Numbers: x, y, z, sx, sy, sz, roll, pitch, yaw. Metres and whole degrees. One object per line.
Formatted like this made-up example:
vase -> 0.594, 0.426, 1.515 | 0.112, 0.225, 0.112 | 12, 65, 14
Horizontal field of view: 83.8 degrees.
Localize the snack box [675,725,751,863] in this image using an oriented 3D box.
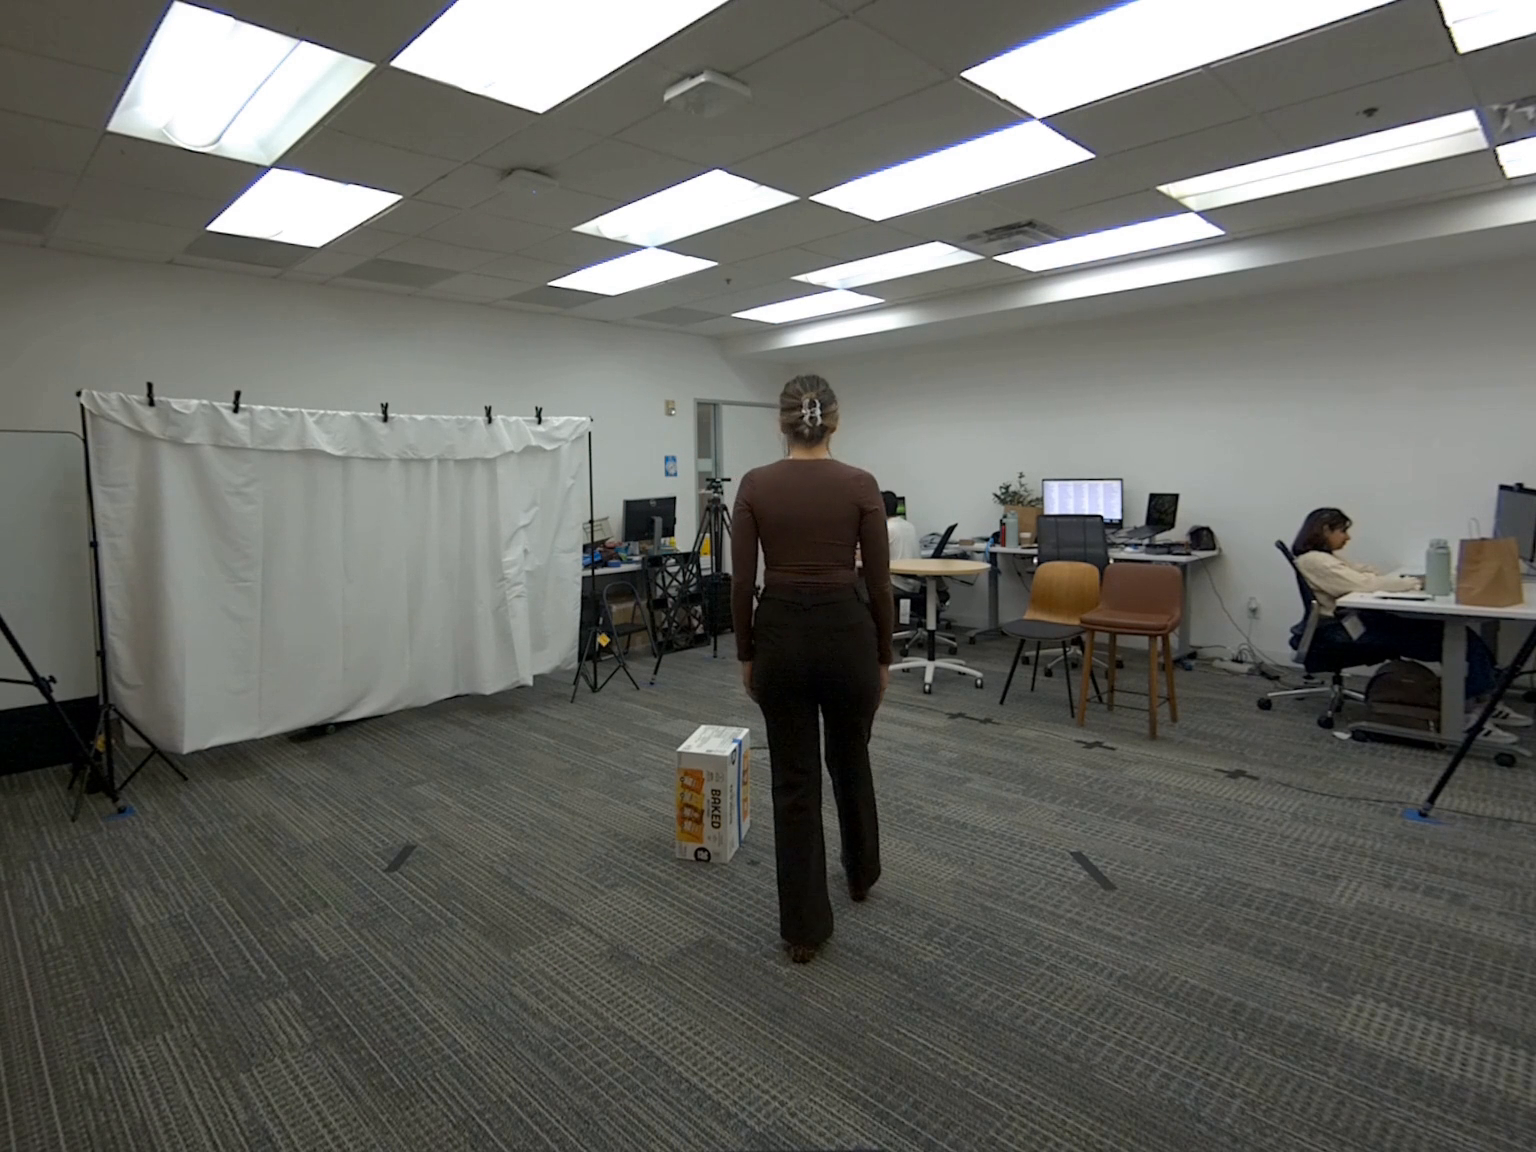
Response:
snack box -> -0.205, 0.821, 3.271 | 0.208, 0.403, 0.337 | 1, 5, 13
